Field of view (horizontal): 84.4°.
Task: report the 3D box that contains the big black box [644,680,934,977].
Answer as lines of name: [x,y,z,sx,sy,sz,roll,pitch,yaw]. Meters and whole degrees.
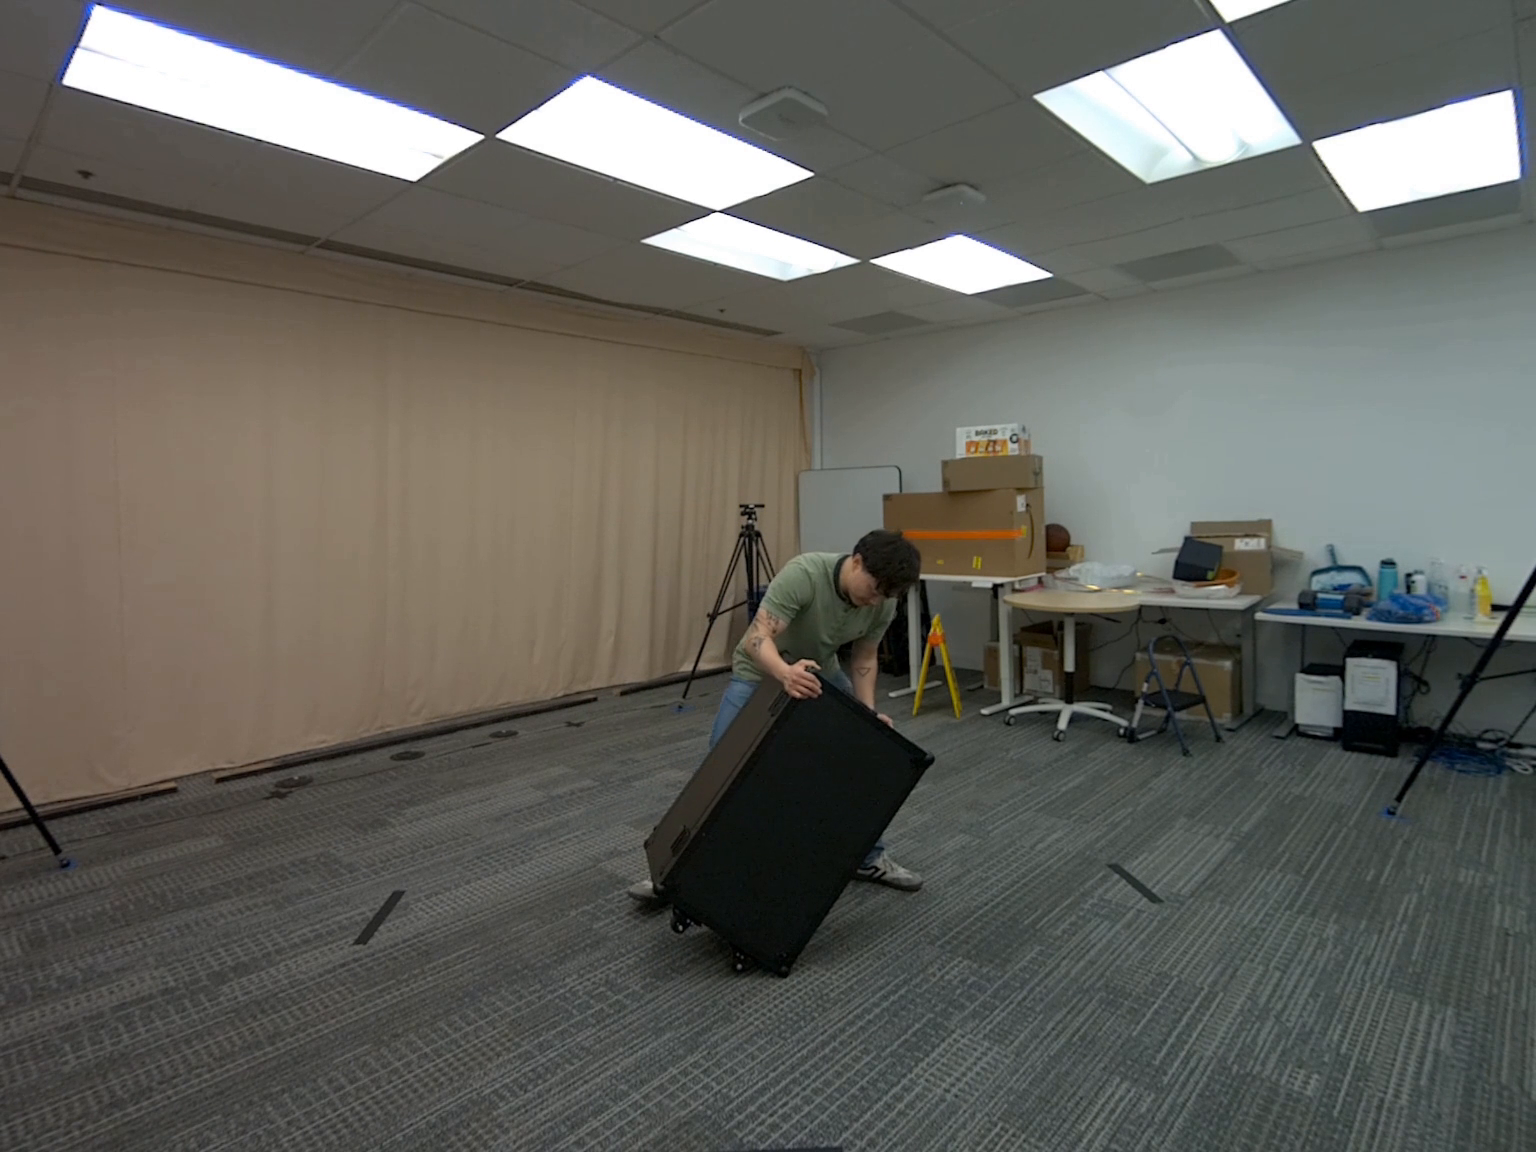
big black box: [0.021,0.739,2.641,0.515,0.861,0.401,36,-5,-11]
